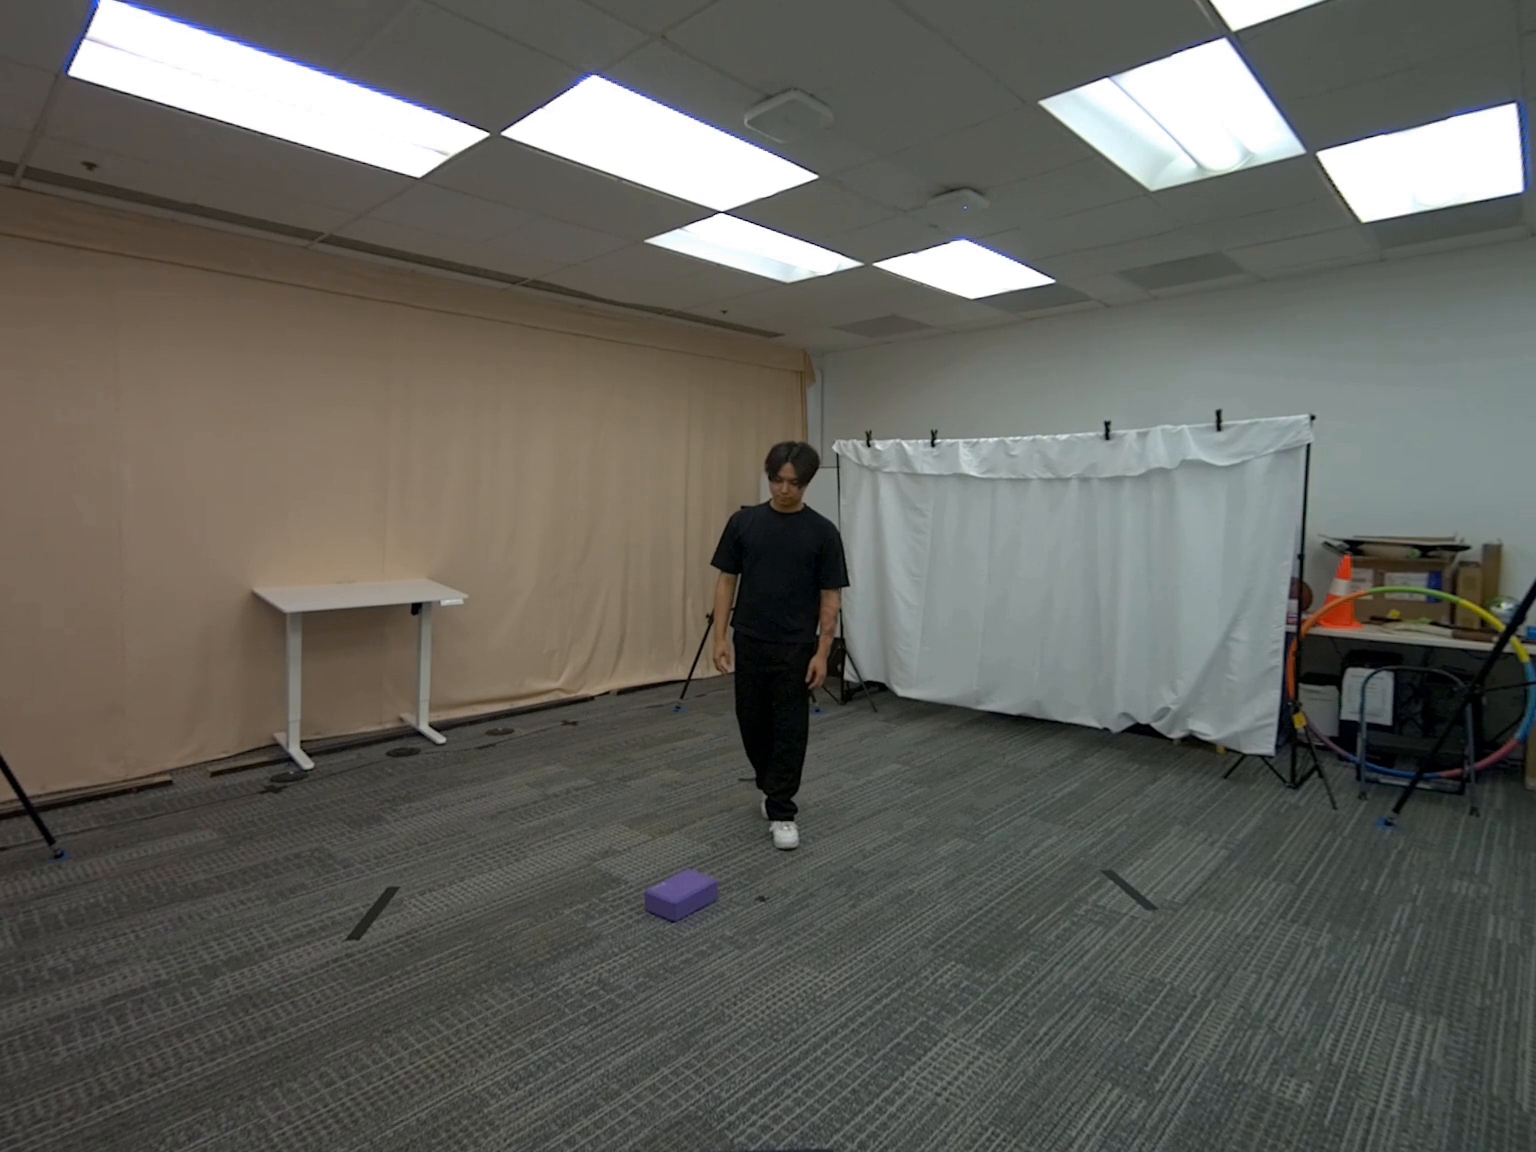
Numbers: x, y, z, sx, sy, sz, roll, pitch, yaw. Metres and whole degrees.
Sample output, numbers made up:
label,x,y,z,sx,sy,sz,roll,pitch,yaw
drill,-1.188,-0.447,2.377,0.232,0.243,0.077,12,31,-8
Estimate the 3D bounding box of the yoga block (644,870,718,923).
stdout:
label,x,y,z,sx,sy,sz,roll,pitch,yaw
yoga block,-0.298,1.111,2.932,0.154,0.076,0.222,4,6,38
